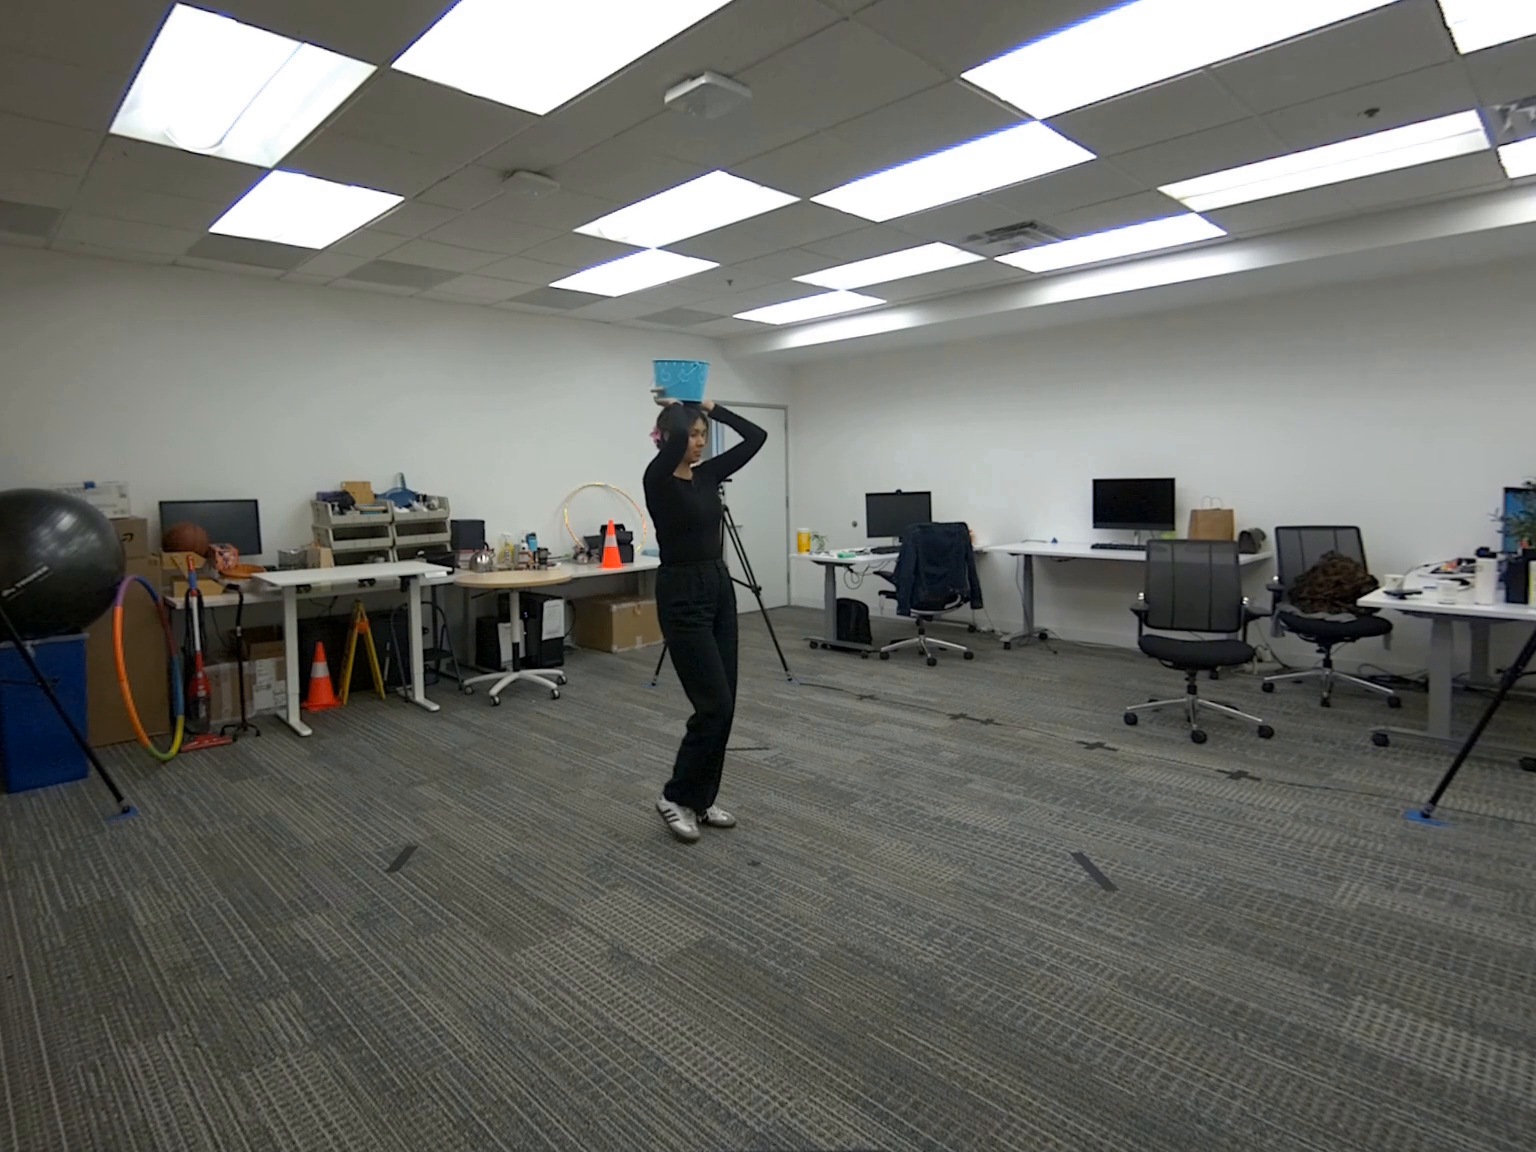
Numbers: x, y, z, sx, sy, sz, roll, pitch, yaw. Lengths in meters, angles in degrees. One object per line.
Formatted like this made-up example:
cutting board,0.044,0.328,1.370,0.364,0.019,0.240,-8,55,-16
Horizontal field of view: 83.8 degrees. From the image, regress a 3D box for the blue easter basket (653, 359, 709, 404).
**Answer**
blue easter basket,-0.362,-0.774,3.392,0.243,0.155,0.245,2,7,-2
